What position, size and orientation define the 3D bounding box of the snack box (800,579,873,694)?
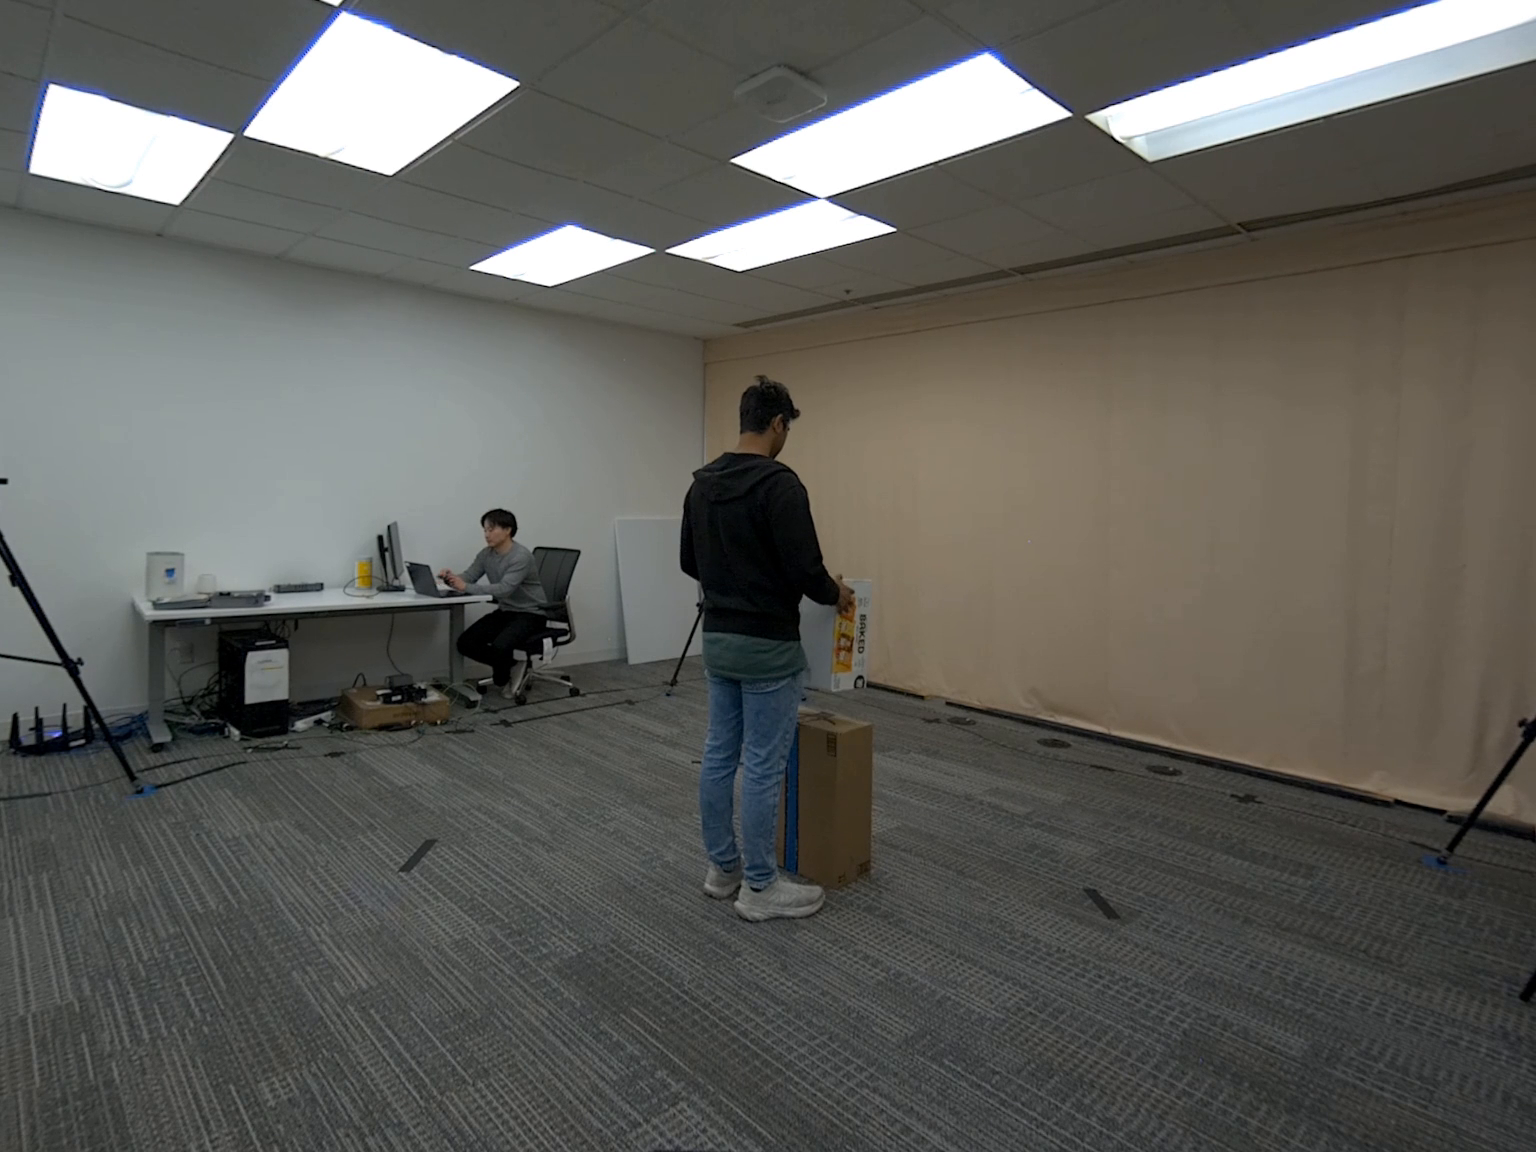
[{"bbox_3d":[0.182,0.197,3.208,0.201,0.405,0.349,2,2,-44],"label":"snack box"}]
